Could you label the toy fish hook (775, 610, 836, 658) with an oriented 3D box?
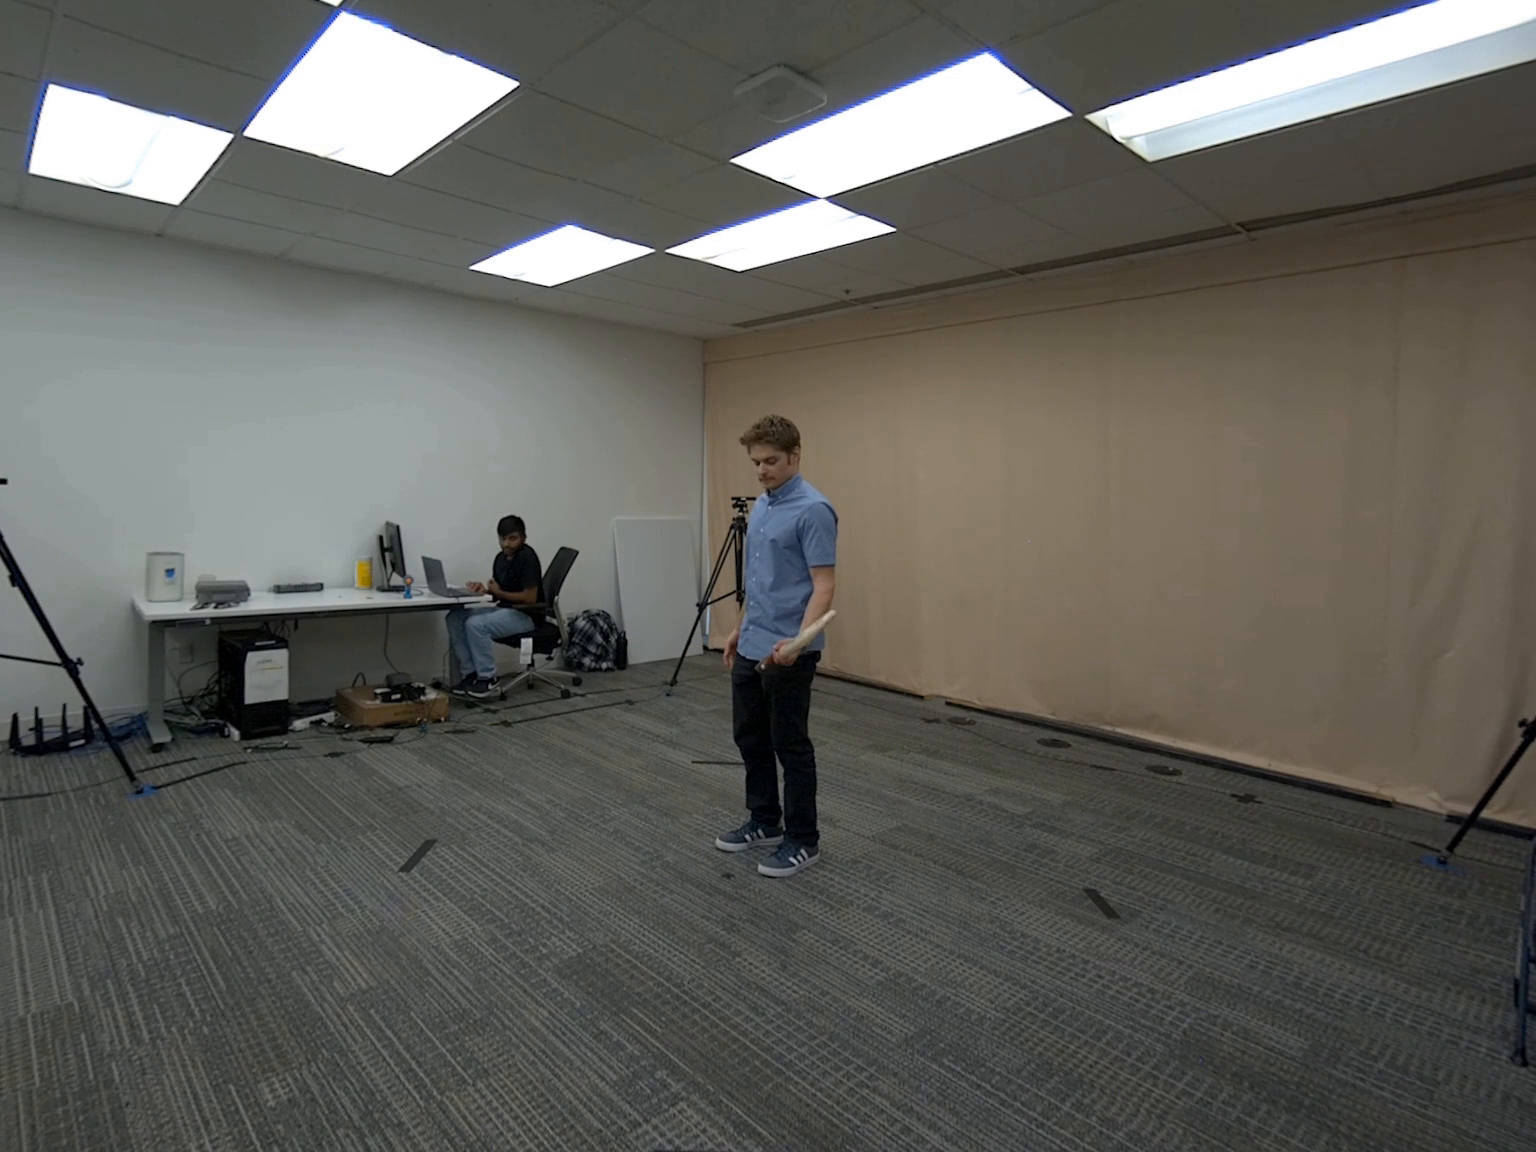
[{"bbox_3d":[0.073,0.220,2.860,0.223,0.048,0.507,-34,-4,-27],"label":"toy fish hook"}]
